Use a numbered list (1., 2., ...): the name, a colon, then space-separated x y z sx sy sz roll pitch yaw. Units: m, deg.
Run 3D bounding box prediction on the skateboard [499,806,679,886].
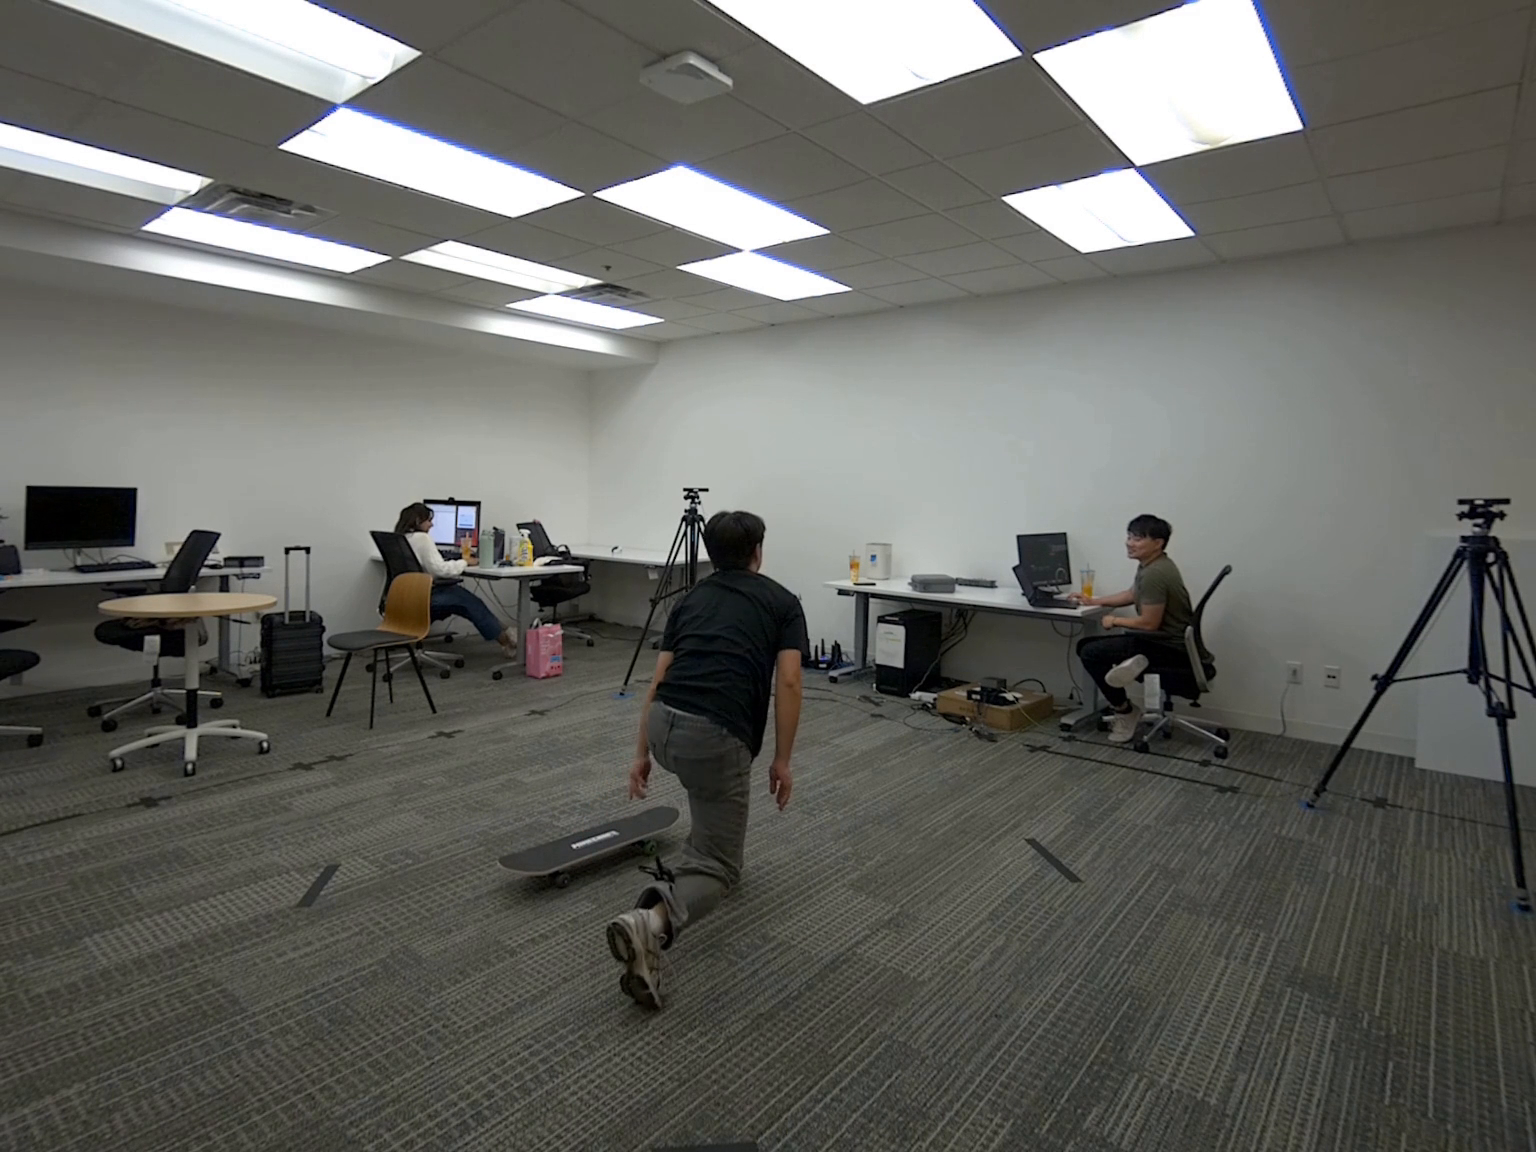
1. skateboard: -0.644 1.003 3.140 0.200 0.110 0.762 6 7 43
